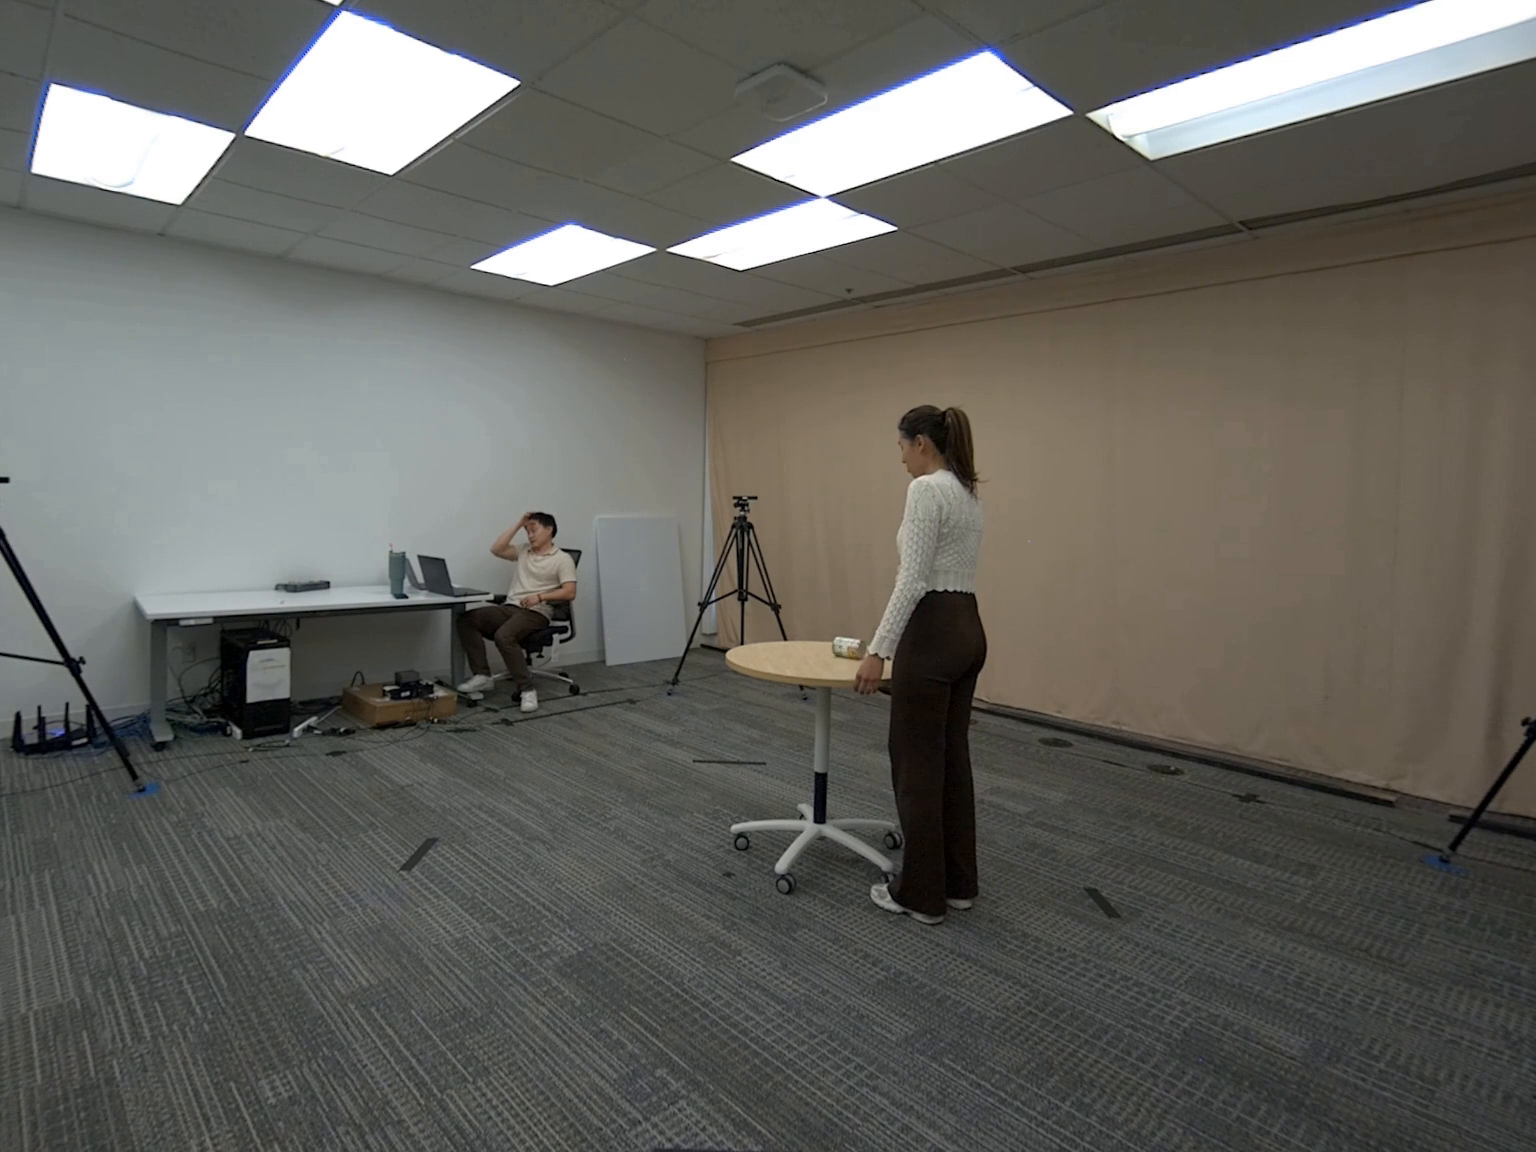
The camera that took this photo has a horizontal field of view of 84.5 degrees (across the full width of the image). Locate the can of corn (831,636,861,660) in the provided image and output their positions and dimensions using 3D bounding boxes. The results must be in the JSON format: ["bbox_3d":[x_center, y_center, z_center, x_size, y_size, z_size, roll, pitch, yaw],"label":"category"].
[{"bbox_3d":[0.306,0.277,3.263,0.113,0.074,0.073,6,6,29],"label":"can of corn"}]
